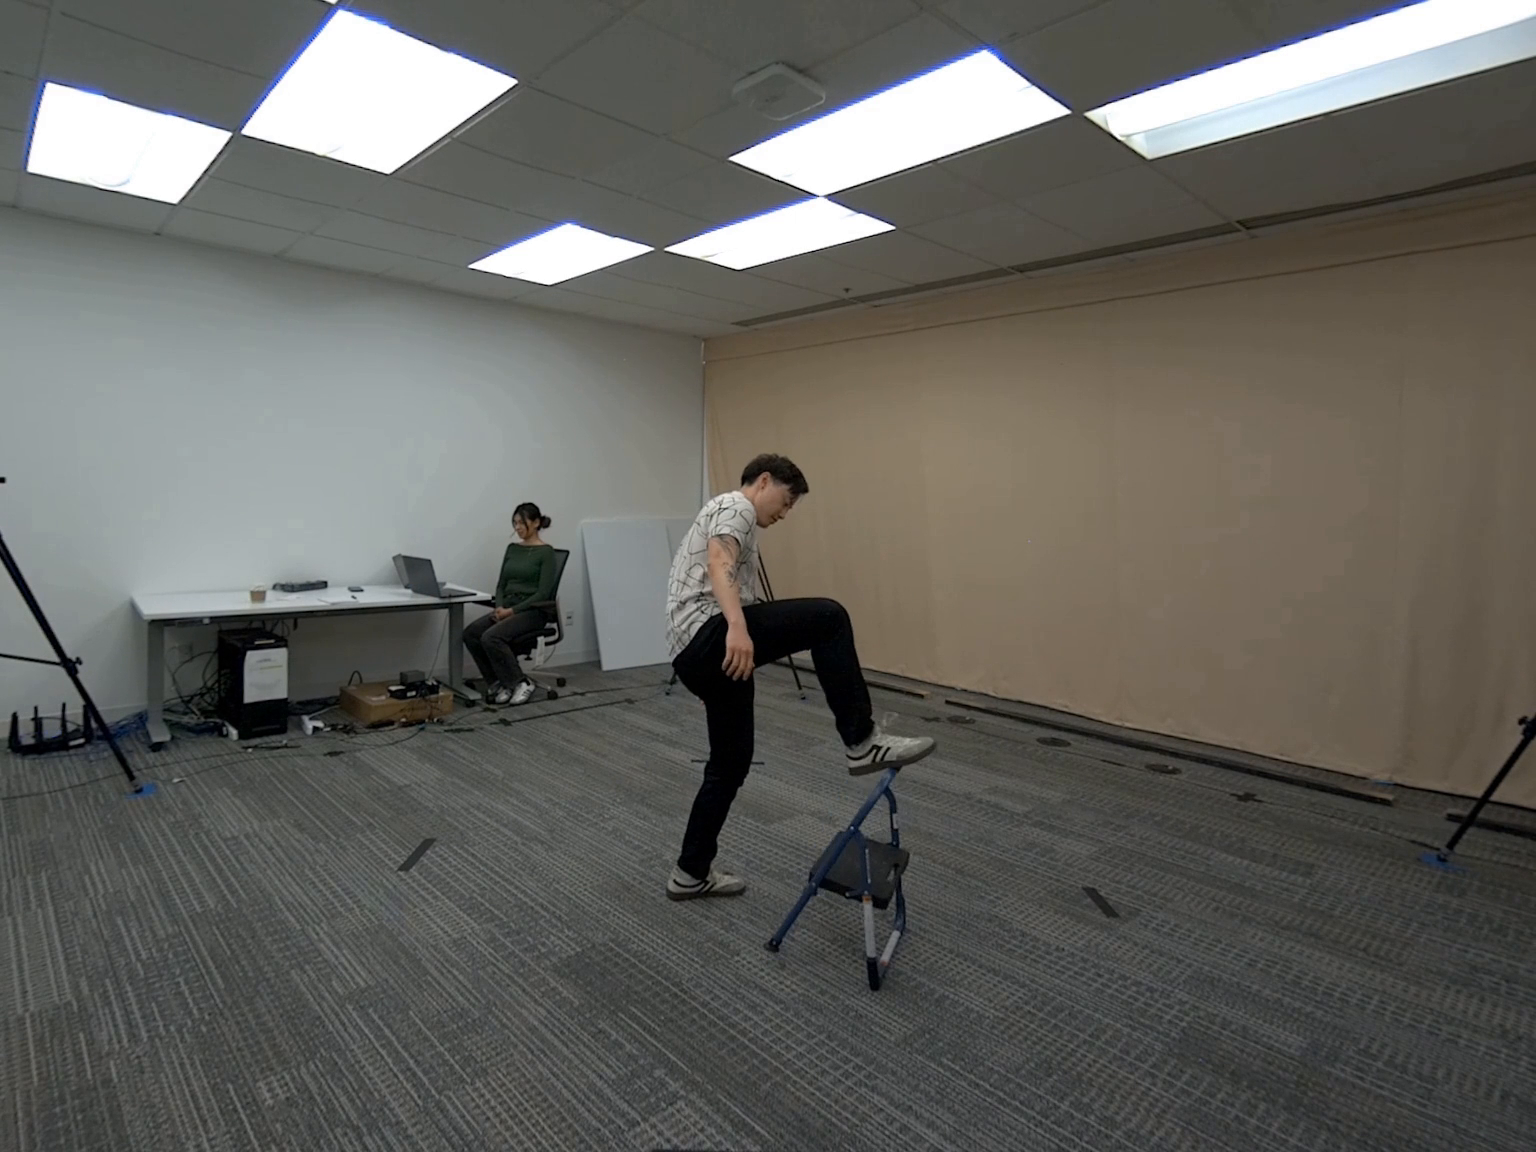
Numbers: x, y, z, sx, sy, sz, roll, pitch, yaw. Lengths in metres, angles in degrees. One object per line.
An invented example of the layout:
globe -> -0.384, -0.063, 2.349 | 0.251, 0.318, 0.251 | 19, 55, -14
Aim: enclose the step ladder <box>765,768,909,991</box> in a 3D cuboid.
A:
step ladder -> 0.263, 0.839, 2.601 | 0.355, 0.603, 0.425 | 12, 7, 19
